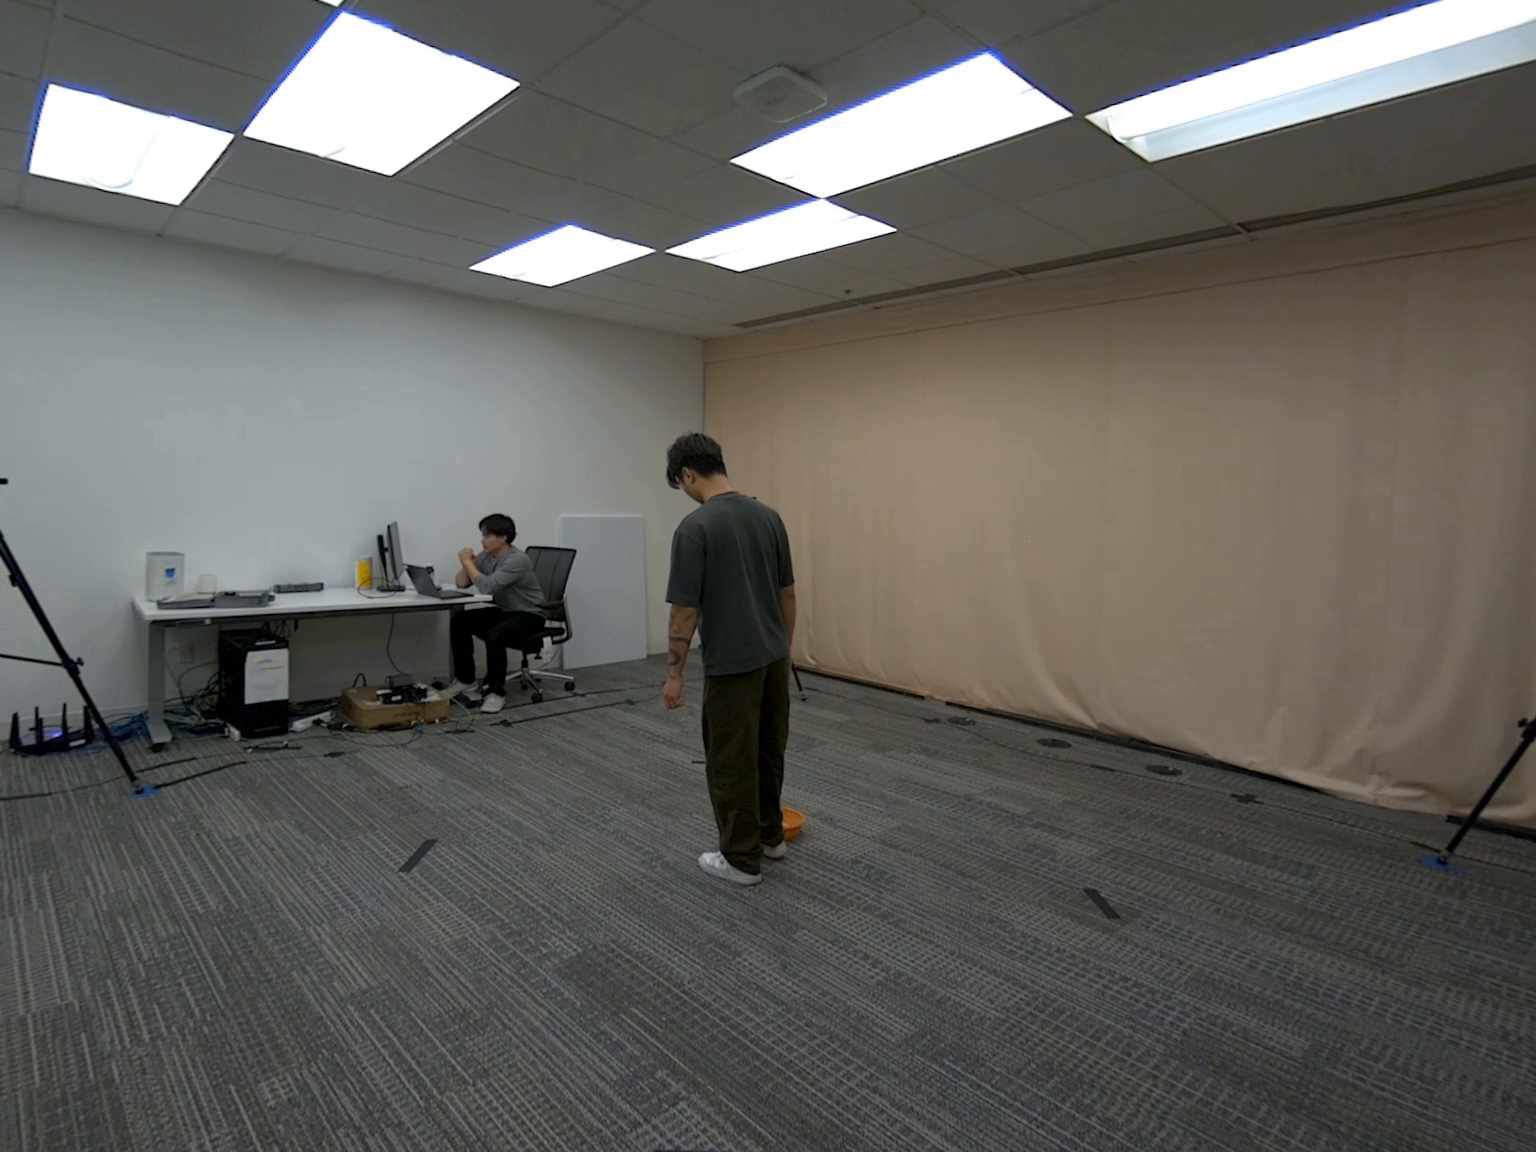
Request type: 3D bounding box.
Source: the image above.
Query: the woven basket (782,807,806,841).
[{"bbox_3d":[-0.023,1.035,3.536,0.357,0.073,0.248,4,6,26],"label":"woven basket"}]
